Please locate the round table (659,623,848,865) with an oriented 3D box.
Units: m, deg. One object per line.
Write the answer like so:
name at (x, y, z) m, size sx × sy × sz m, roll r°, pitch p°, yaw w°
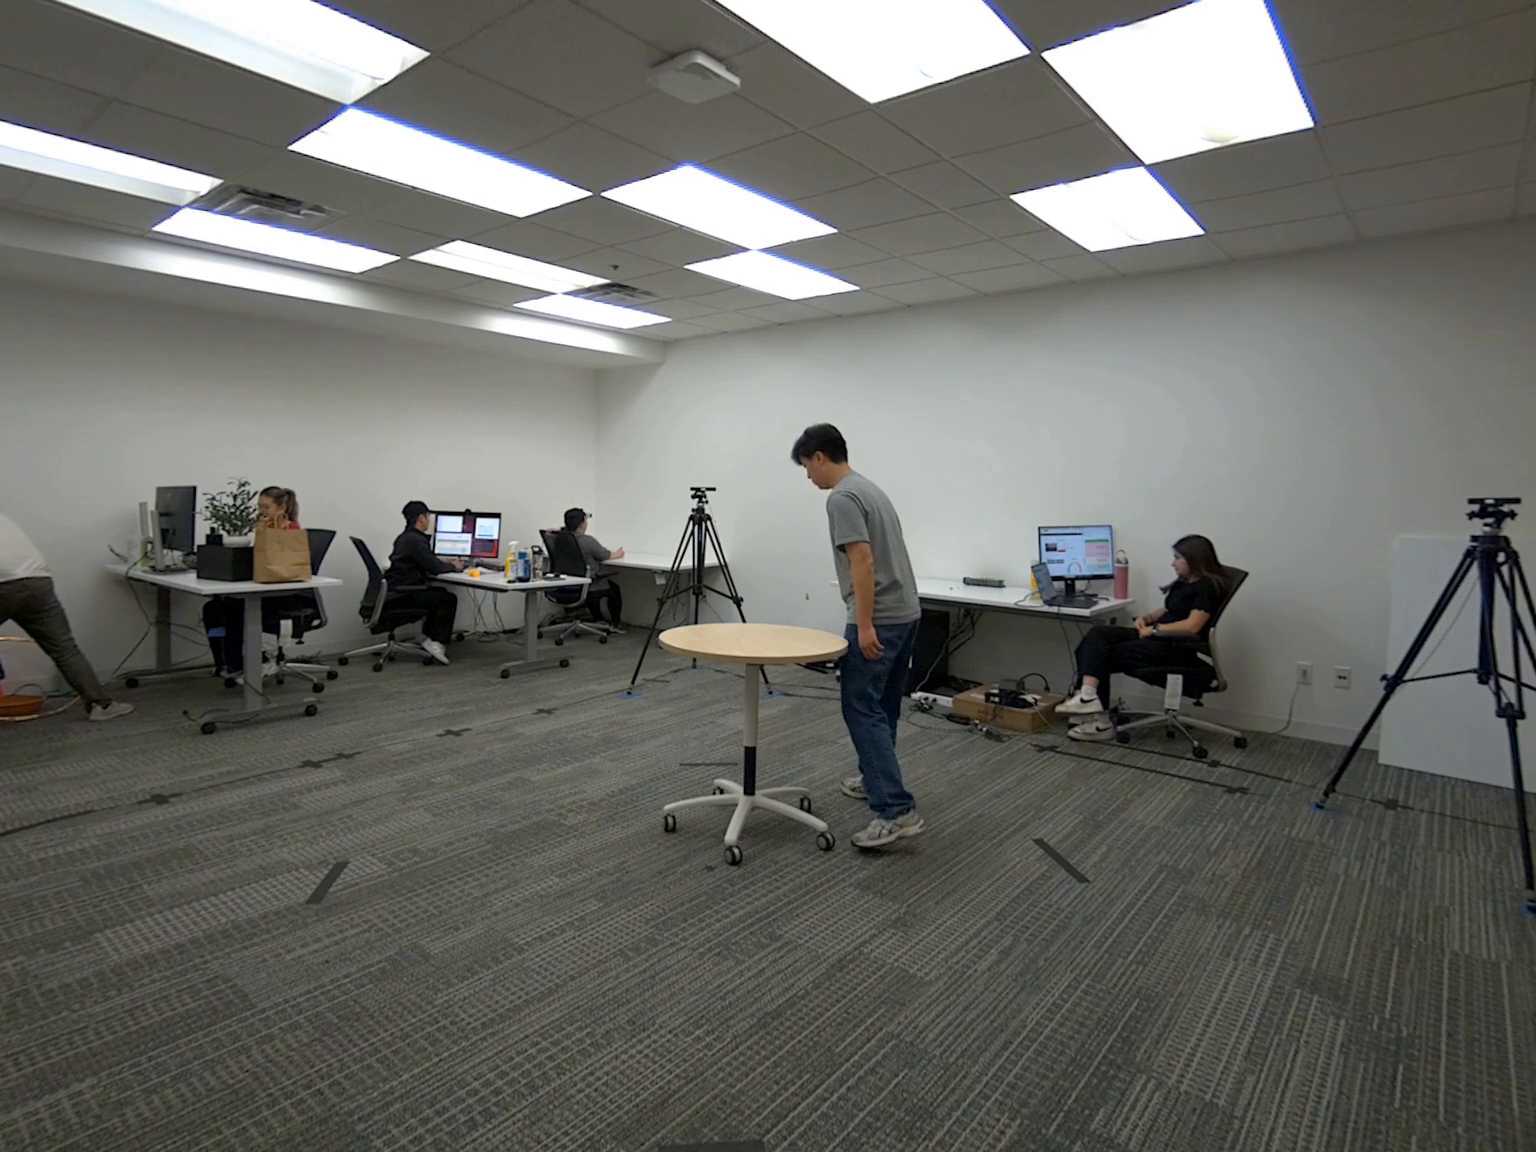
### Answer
round table at (-0.084, 0.644, 3.476) m, size 0.763 × 0.791 × 0.768 m, roll 2°, pitch 4°, yaw -2°
